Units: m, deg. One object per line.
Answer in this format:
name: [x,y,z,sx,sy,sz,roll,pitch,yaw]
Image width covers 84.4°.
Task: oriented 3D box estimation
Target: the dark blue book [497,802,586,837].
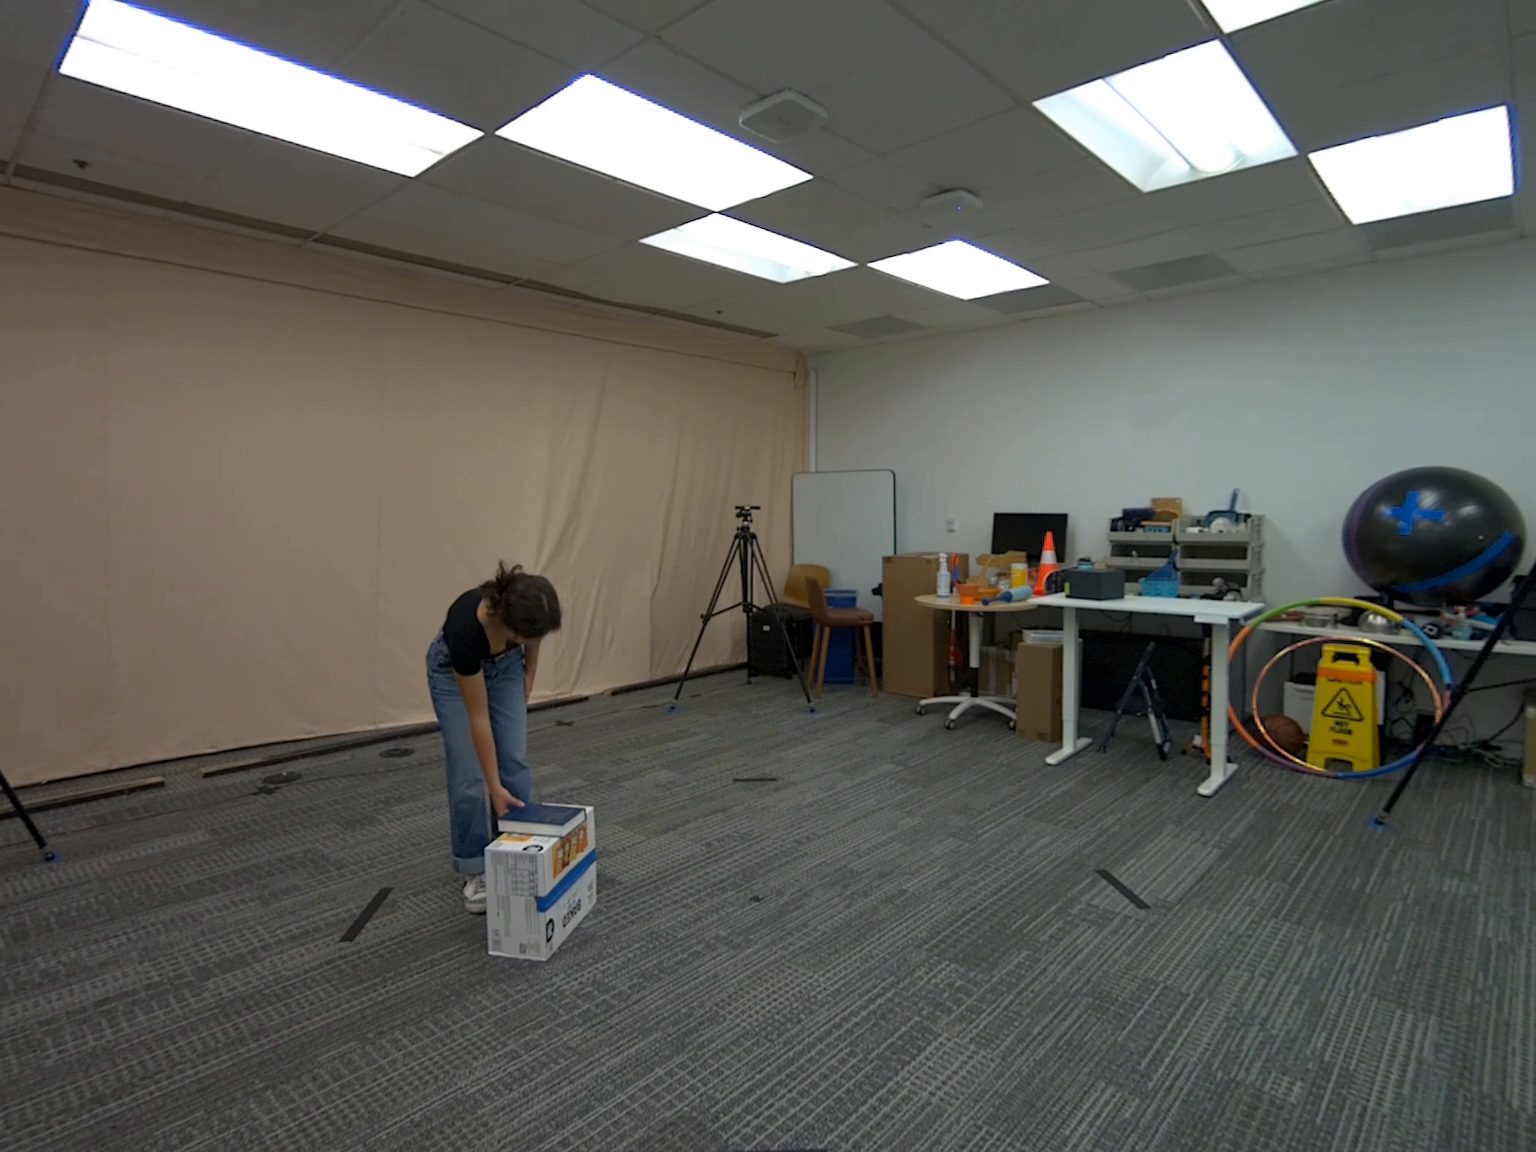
dark blue book: [-0.746,0.808,2.788,0.249,0.045,0.161,-1,4,16]
